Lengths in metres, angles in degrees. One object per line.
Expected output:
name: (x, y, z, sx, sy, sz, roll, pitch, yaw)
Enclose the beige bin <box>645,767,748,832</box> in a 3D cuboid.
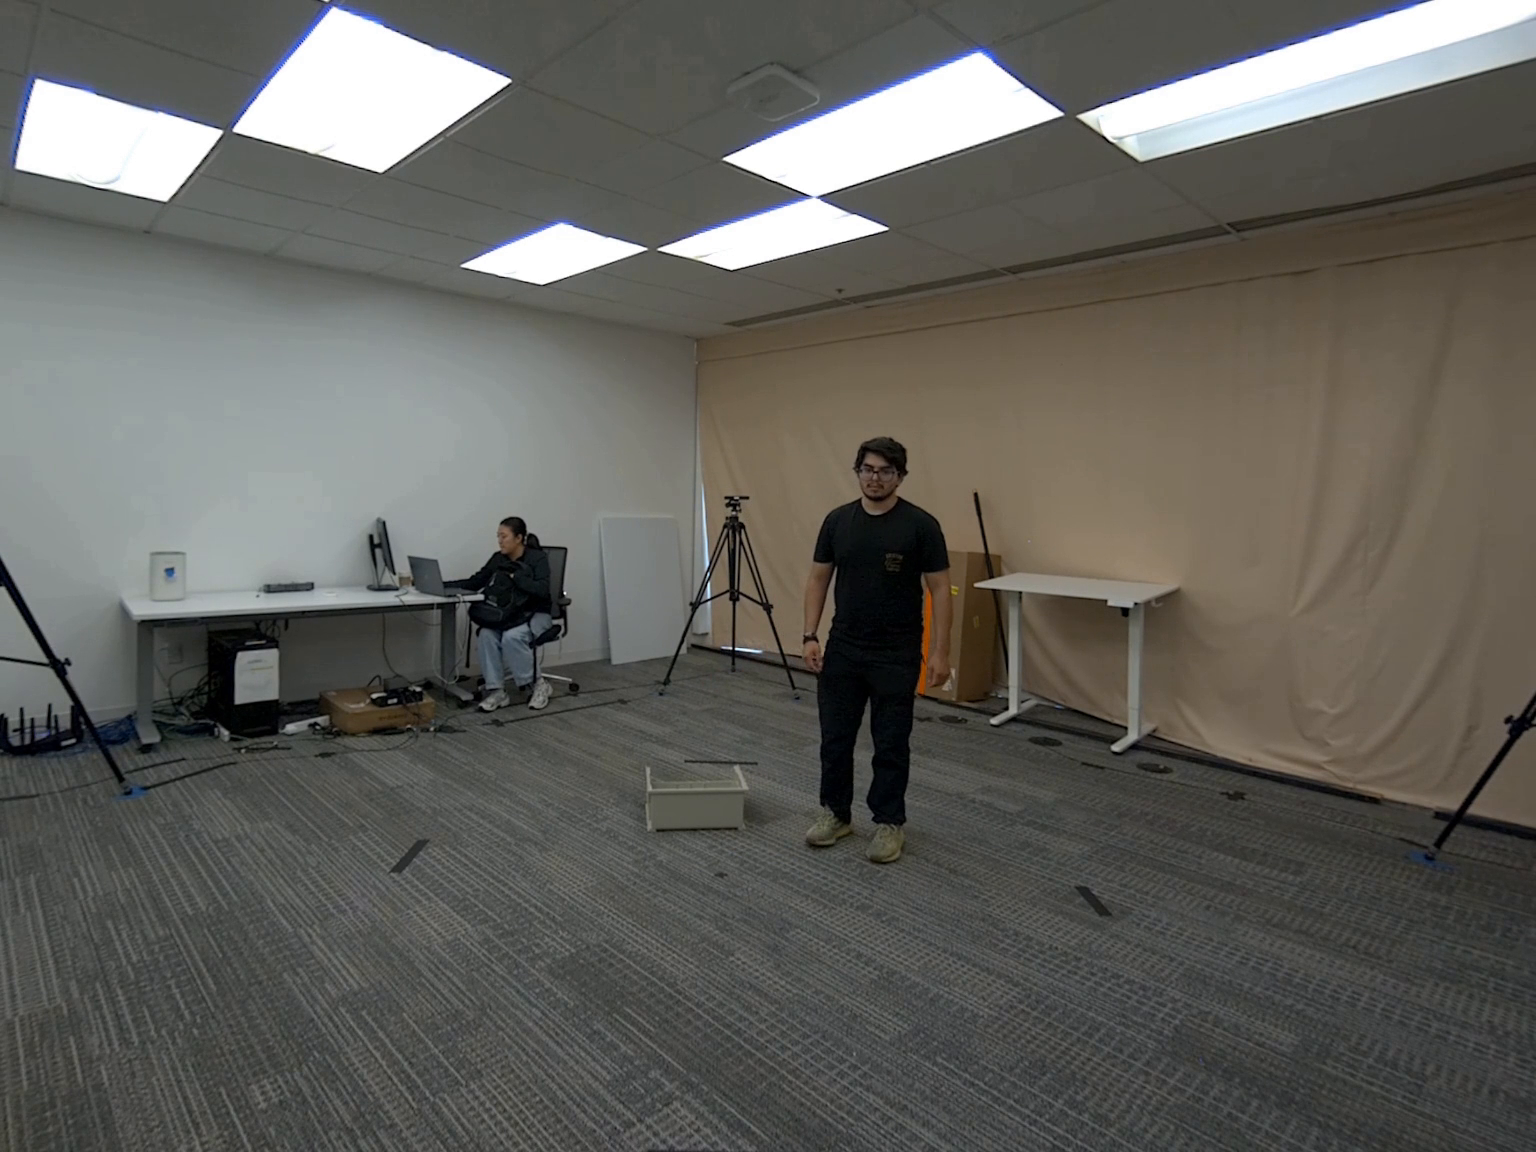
beige bin: (-0.330, 0.957, 3.690, 0.420, 0.188, 0.381, 1, 6, -8)
